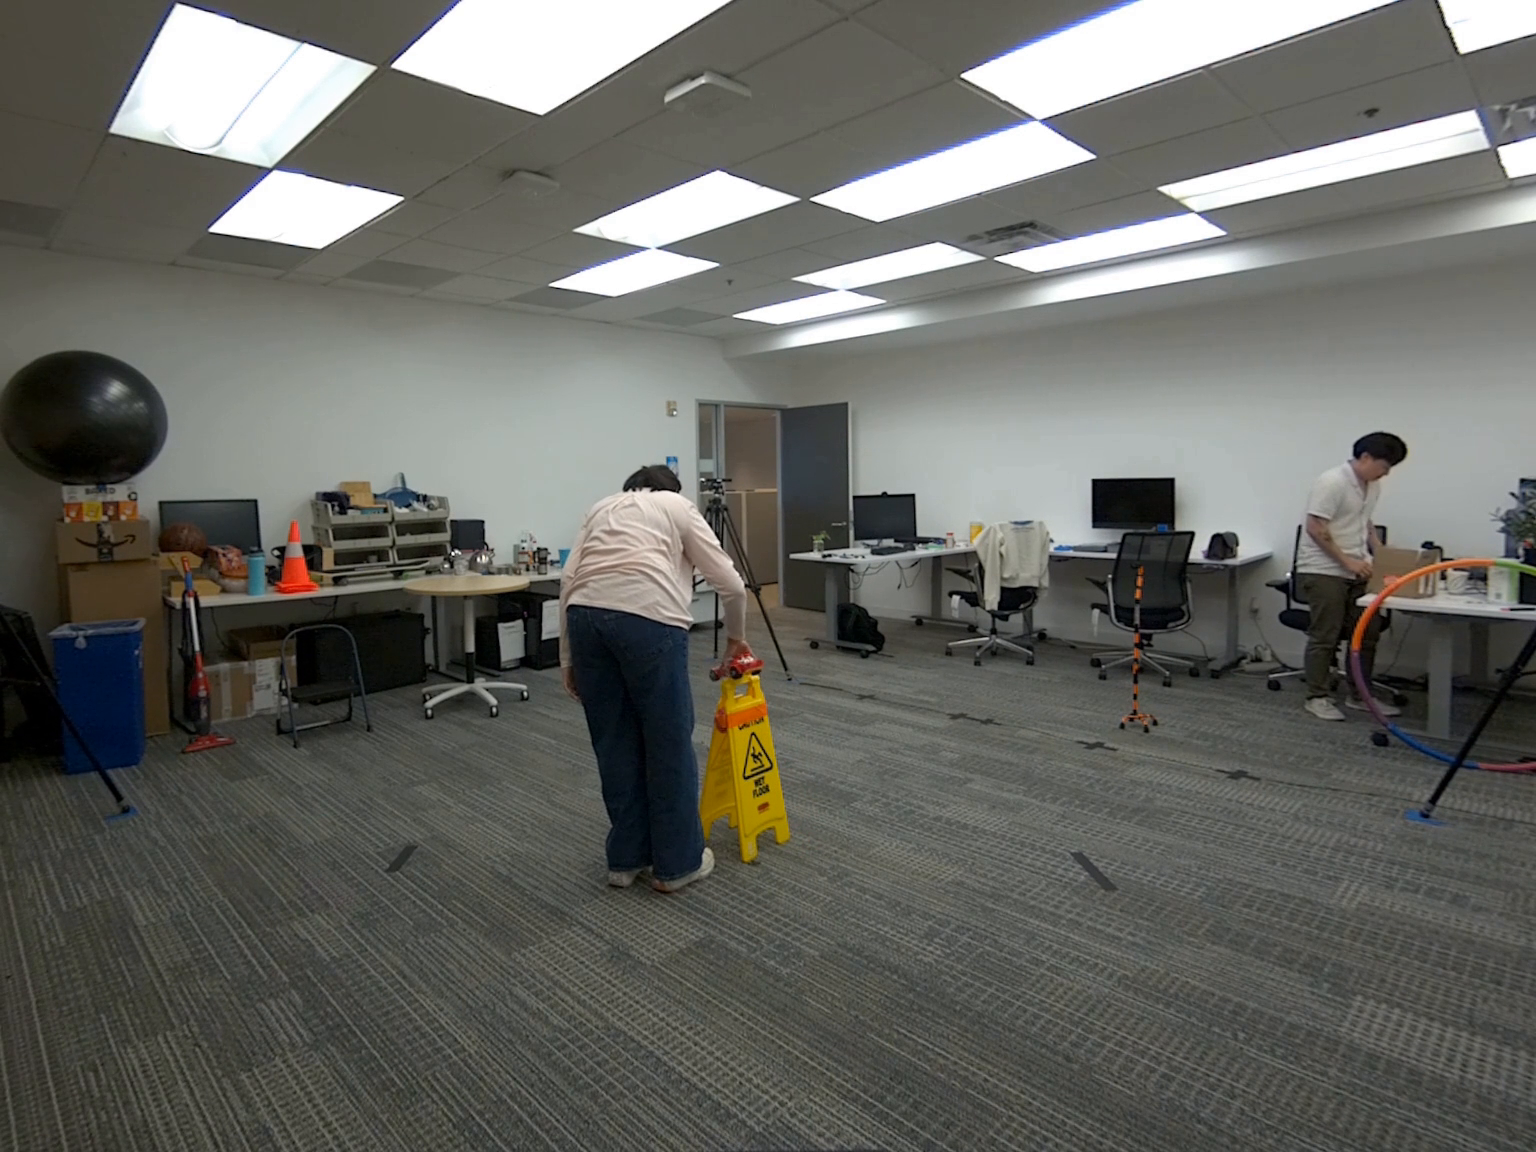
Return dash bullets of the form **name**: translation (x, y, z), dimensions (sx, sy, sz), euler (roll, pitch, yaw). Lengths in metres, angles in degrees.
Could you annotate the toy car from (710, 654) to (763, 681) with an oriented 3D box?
- **toy car**: translation (-0.117, 0.358, 3.227), dimensions (0.127, 0.084, 0.256), euler (-7, -16, -35)
